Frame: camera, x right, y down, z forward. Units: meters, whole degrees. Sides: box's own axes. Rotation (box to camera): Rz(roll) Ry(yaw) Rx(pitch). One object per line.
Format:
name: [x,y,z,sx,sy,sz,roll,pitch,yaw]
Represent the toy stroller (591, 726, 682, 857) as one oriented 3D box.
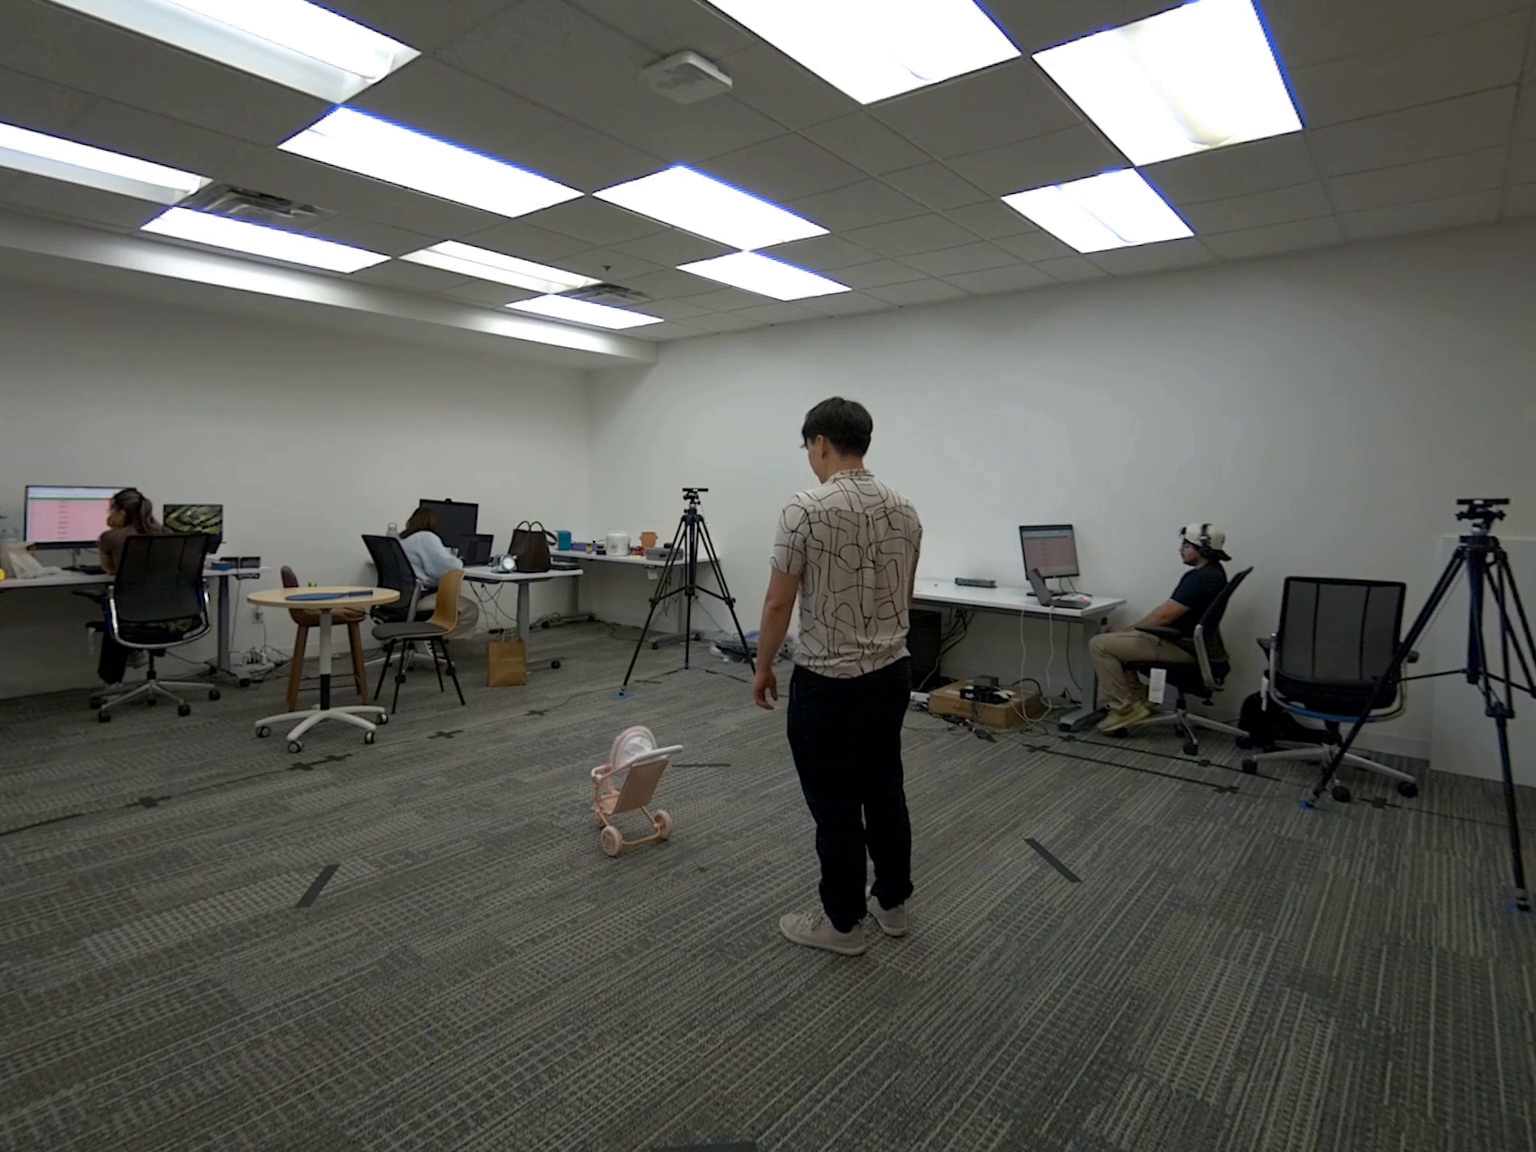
toy stroller: [-0.555,0.818,3.333,0.273,0.529,0.356,-2,21,-40]
